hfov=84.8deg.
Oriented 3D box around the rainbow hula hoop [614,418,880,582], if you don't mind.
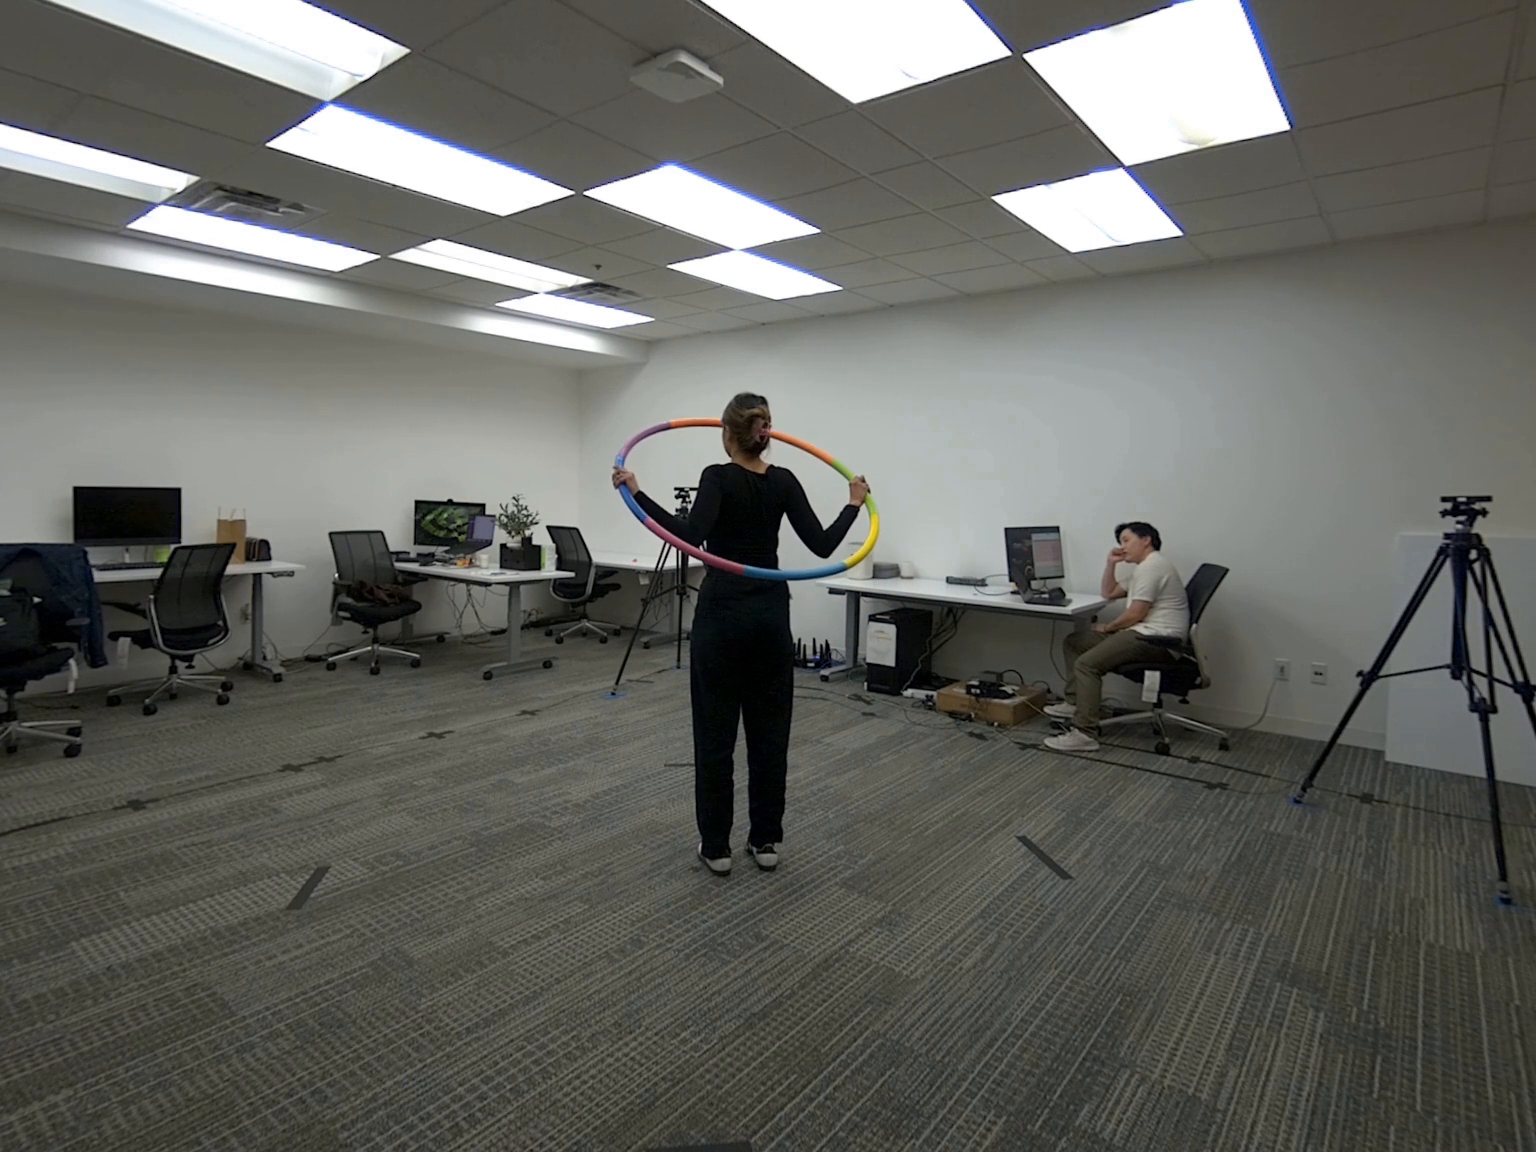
[{"bbox_3d":[-0.071,-0.315,3.092,0.969,0.035,1.006,9,35,-9],"label":"rainbow hula hoop"}]
